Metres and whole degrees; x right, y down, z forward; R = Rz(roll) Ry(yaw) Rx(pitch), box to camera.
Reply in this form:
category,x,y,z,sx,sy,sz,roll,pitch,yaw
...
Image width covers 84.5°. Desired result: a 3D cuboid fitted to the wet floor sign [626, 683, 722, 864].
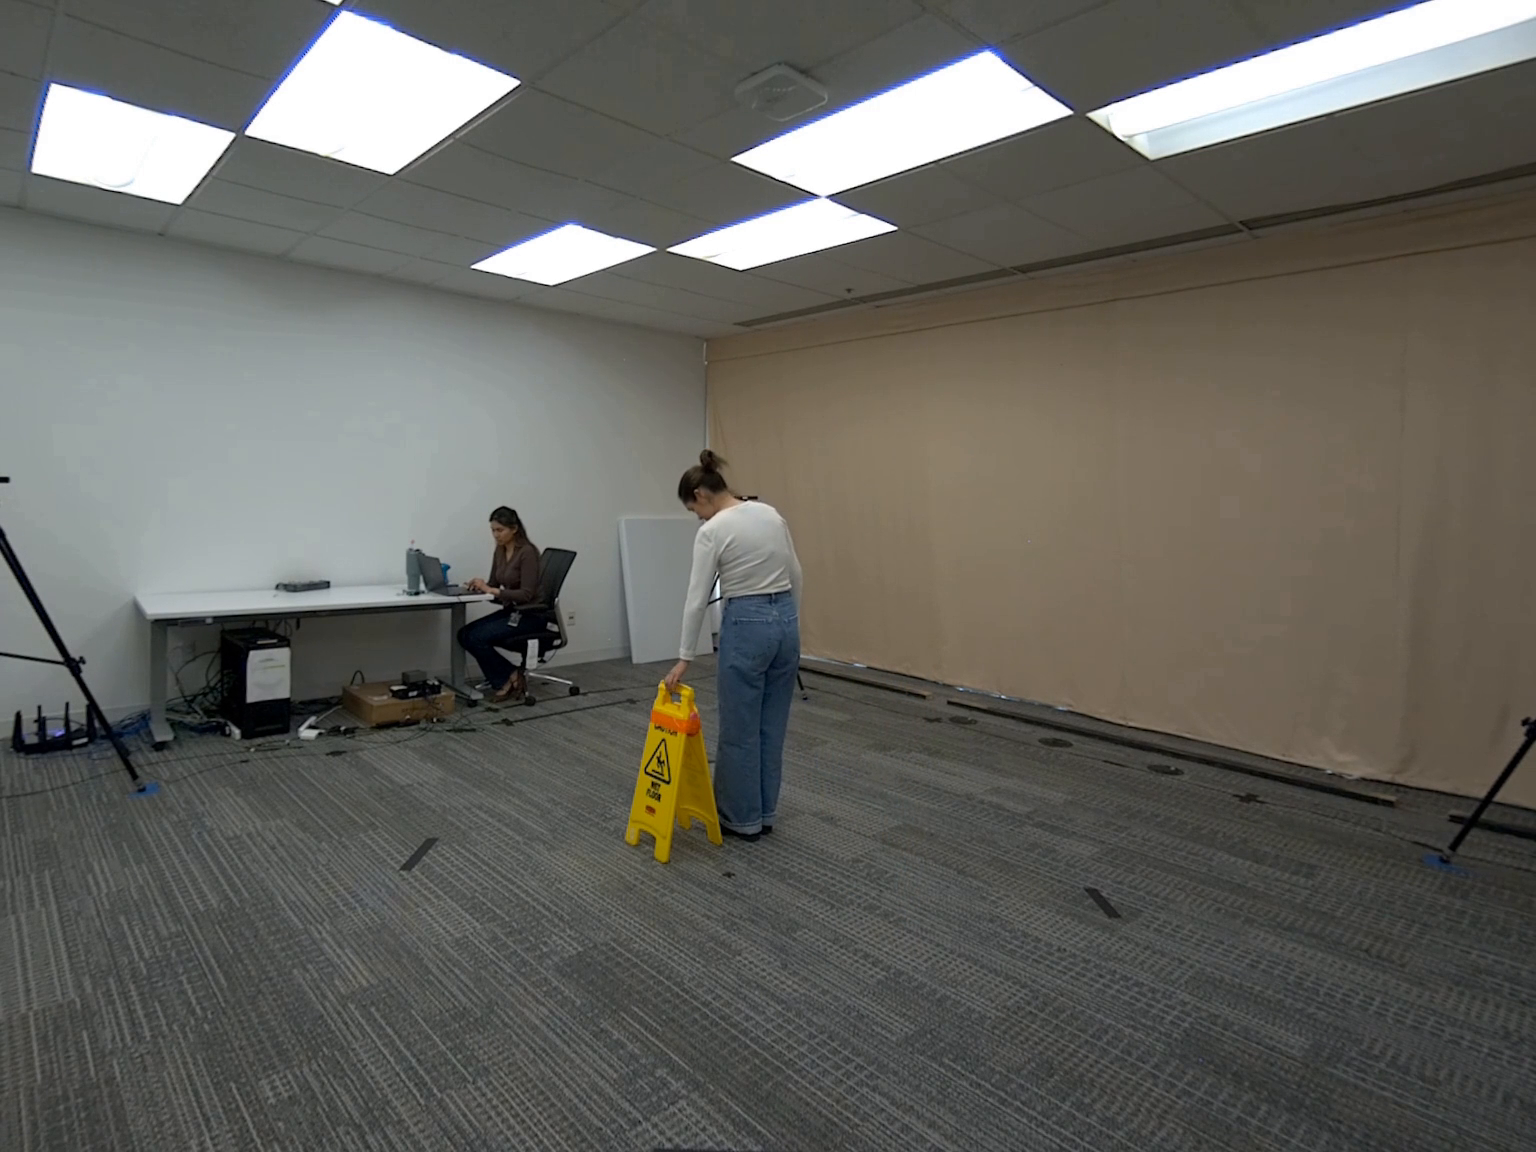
category,x,y,z,sx,sy,sz,roll,pitch,yaw
wet floor sign,-0.375,0.750,3.366,0.283,0.644,0.289,-1,4,-43
